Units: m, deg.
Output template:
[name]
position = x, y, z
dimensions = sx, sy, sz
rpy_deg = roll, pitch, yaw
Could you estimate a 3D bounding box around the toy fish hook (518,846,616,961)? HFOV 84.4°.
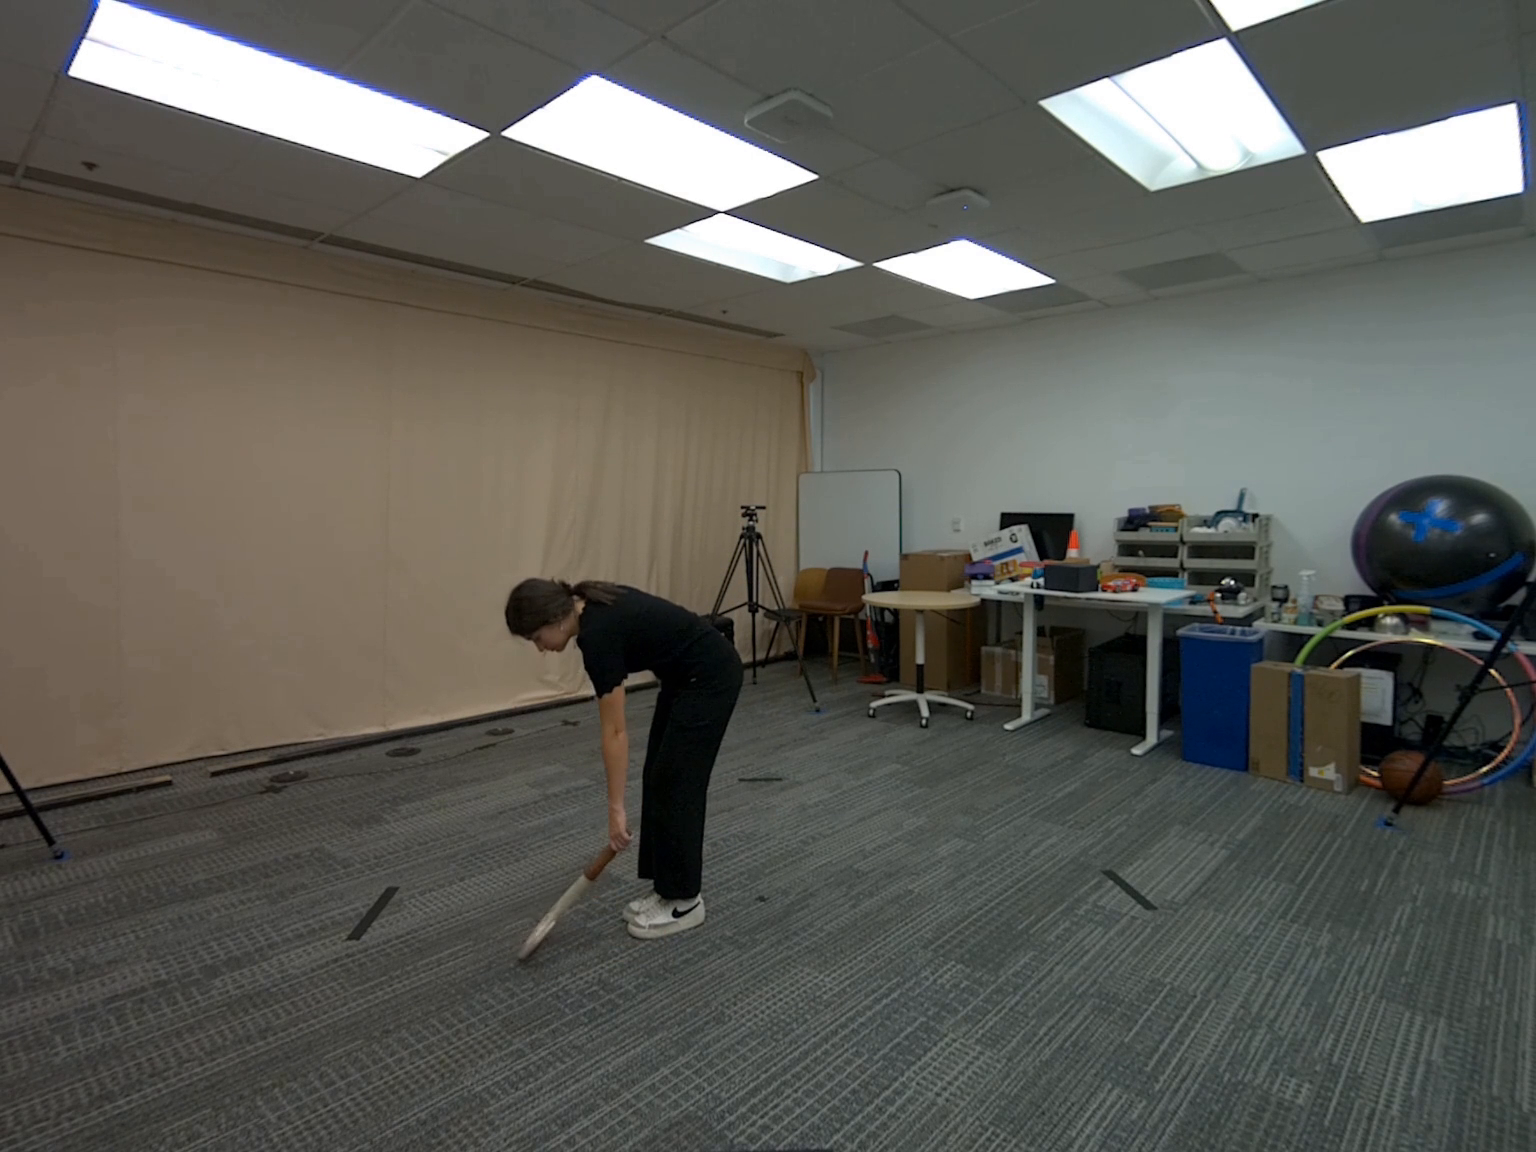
[toy fish hook]
position = -0.593, 0.992, 2.593
dimensions = 0.048, 0.507, 0.224
rpy_deg = 40, 8, -3
